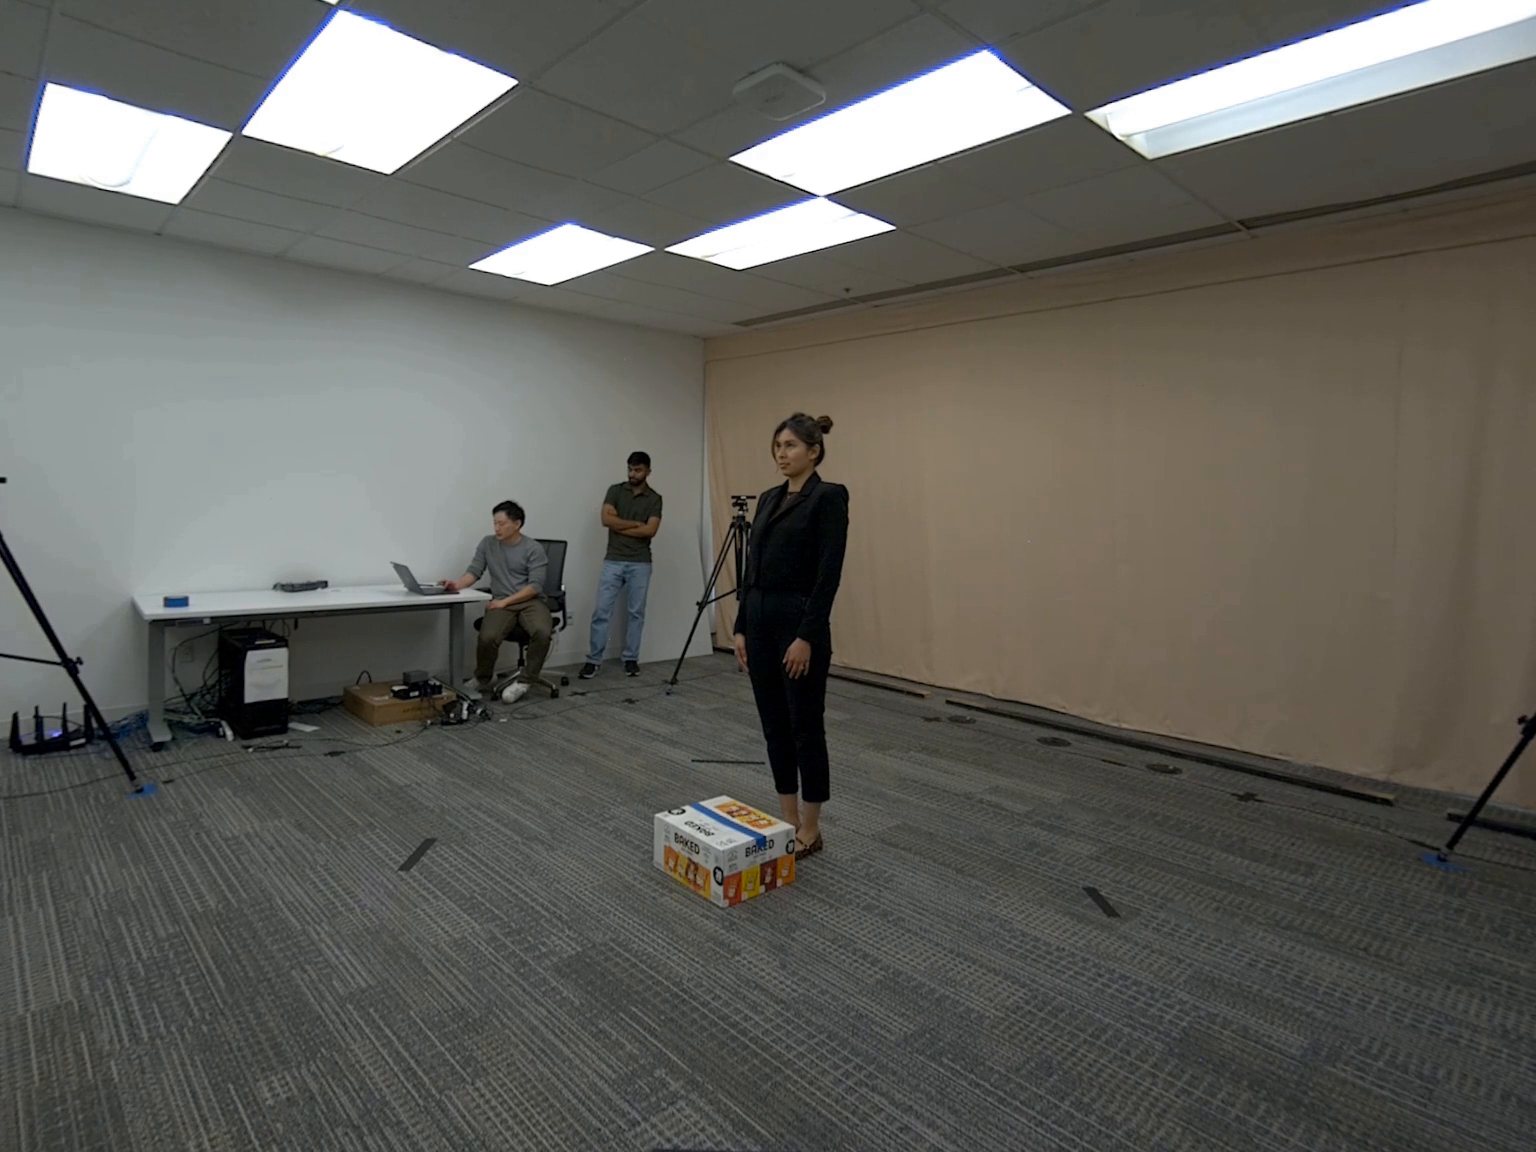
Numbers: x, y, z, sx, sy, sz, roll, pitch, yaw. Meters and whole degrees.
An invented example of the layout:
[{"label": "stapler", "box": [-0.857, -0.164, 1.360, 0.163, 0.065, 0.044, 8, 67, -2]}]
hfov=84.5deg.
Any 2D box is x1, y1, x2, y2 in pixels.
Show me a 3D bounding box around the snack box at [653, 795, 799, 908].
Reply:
[{"label": "snack box", "box": [-0.172, 1.001, 3.091, 0.332, 0.205, 0.415, -3, 6, -41]}]
